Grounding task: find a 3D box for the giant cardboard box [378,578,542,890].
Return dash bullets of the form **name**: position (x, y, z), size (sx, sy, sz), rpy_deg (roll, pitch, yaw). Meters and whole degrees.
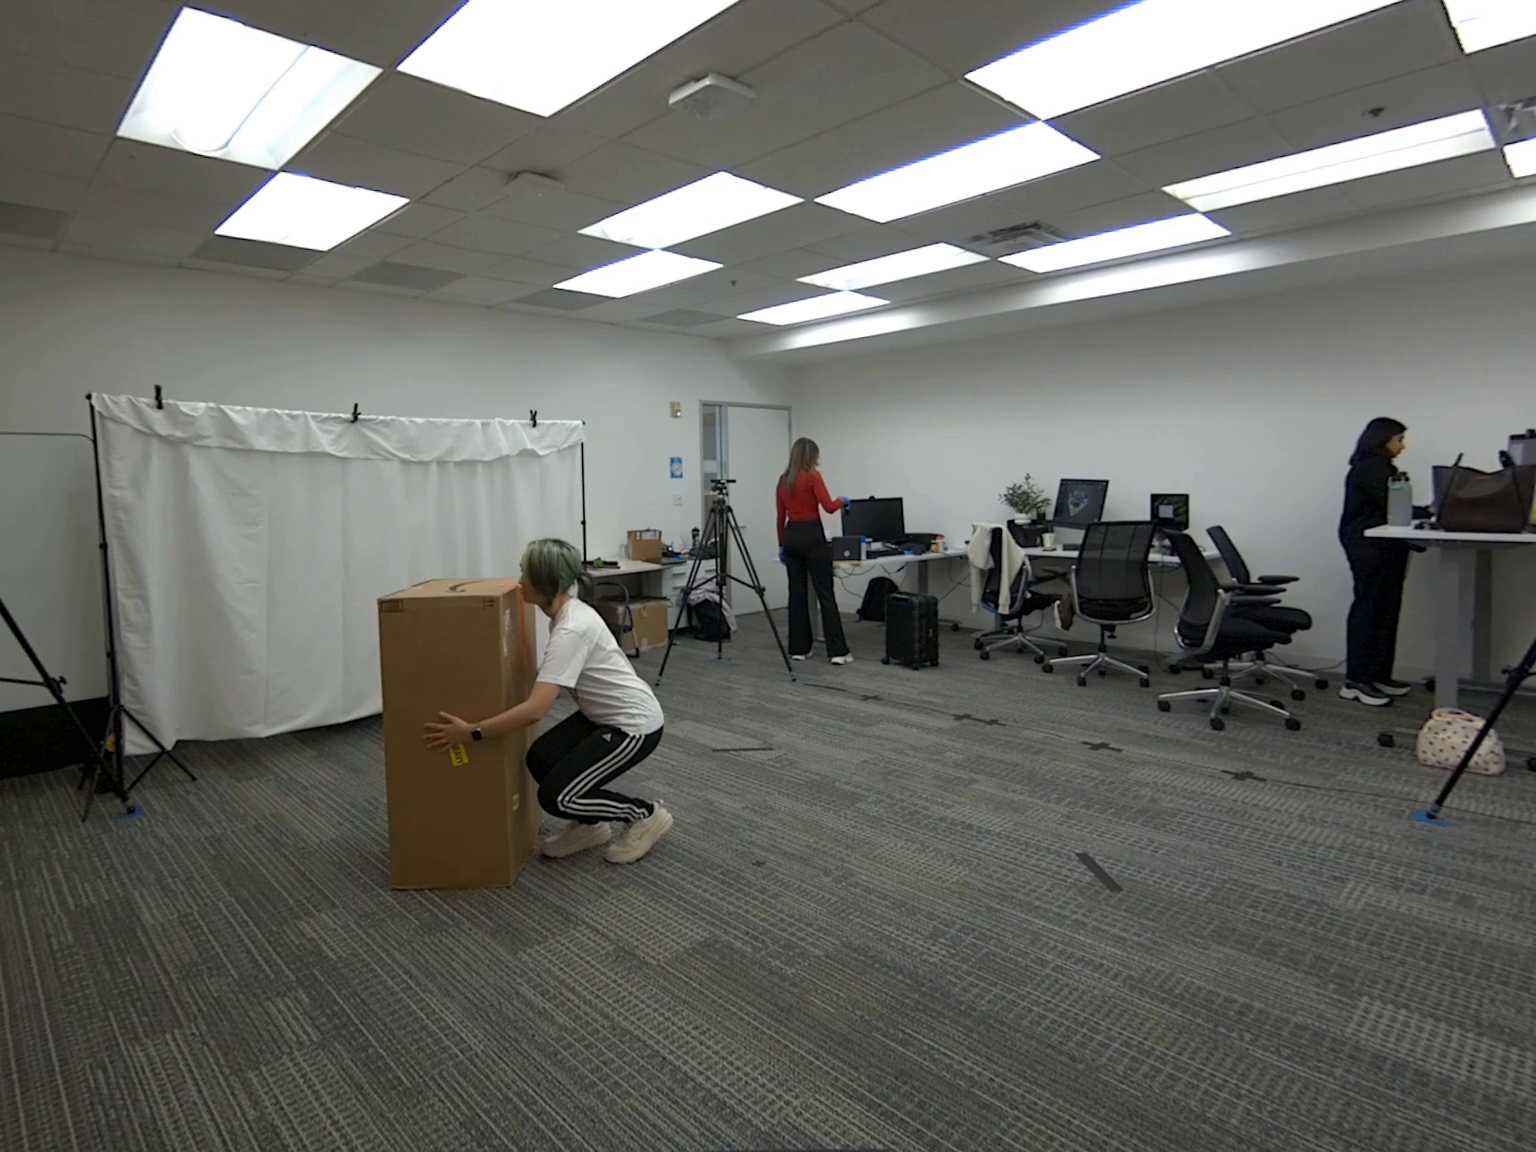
- **giant cardboard box**: position (-1.134, 0.548, 3.224), size (0.446, 1.024, 0.587), rpy_deg (-2, 4, -3)
